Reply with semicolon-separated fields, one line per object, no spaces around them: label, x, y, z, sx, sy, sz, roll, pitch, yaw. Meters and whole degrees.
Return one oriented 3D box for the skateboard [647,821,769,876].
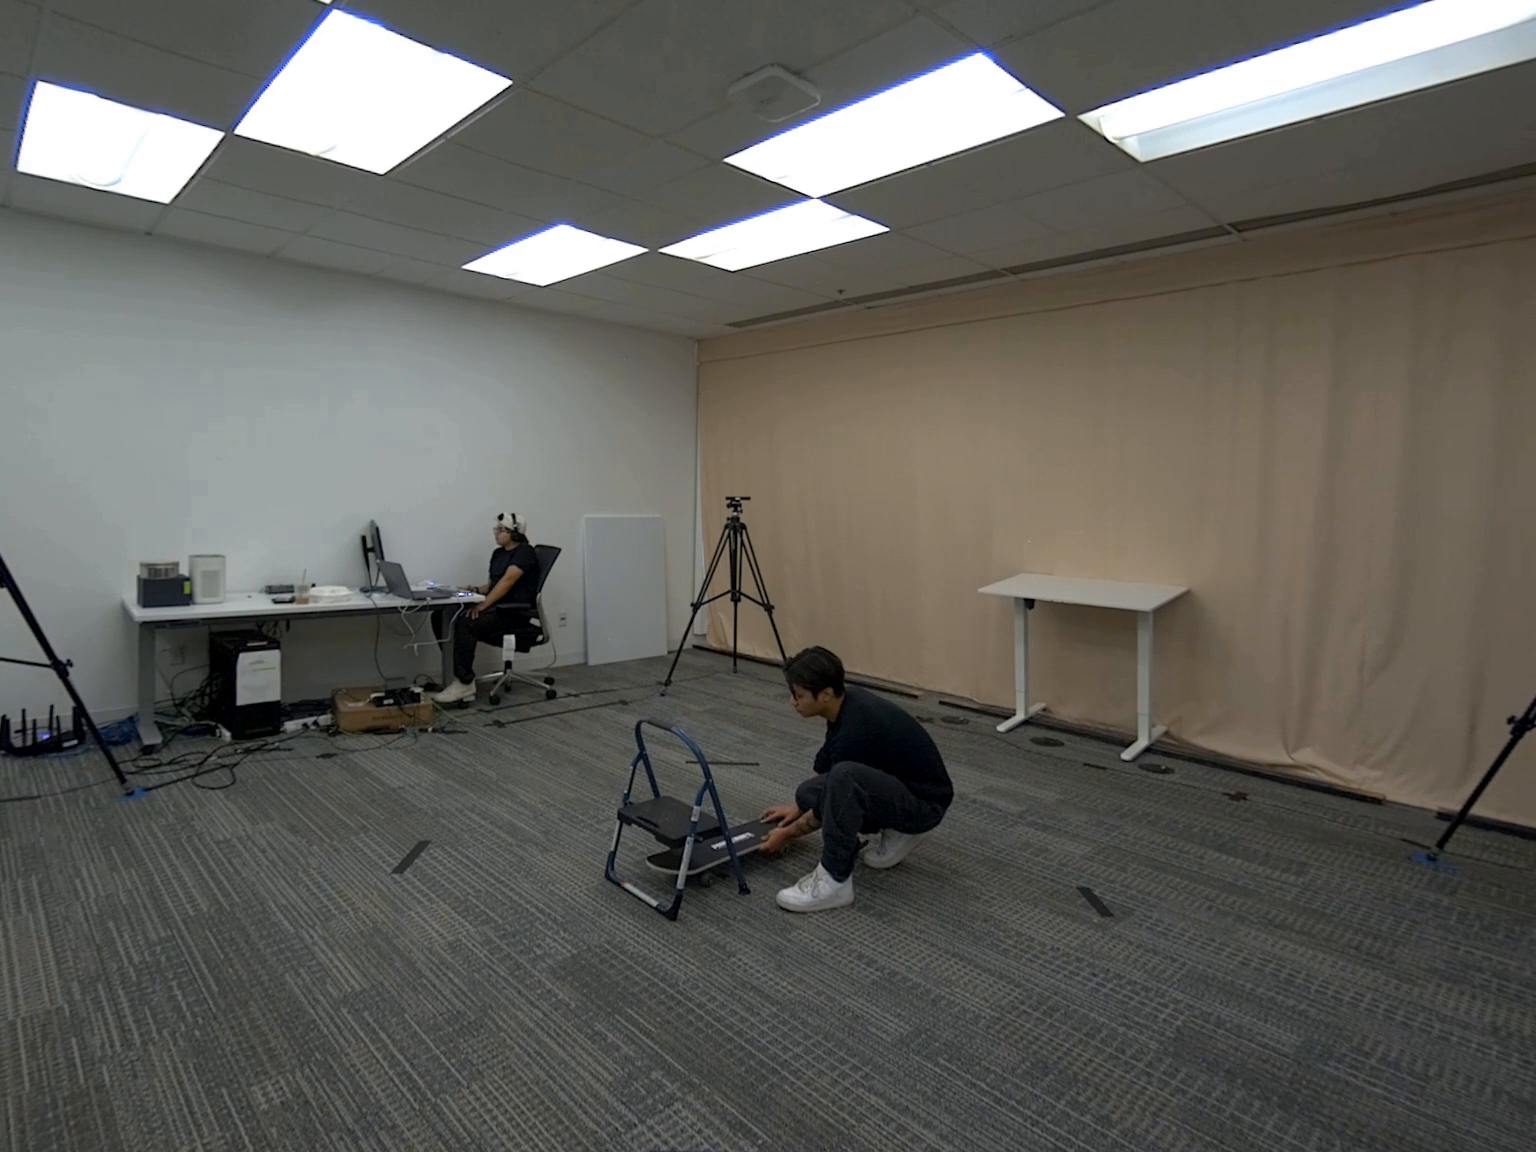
skateboard;-0.141;1.033;3.200;0.198;0.110;0.767;6;6;44
